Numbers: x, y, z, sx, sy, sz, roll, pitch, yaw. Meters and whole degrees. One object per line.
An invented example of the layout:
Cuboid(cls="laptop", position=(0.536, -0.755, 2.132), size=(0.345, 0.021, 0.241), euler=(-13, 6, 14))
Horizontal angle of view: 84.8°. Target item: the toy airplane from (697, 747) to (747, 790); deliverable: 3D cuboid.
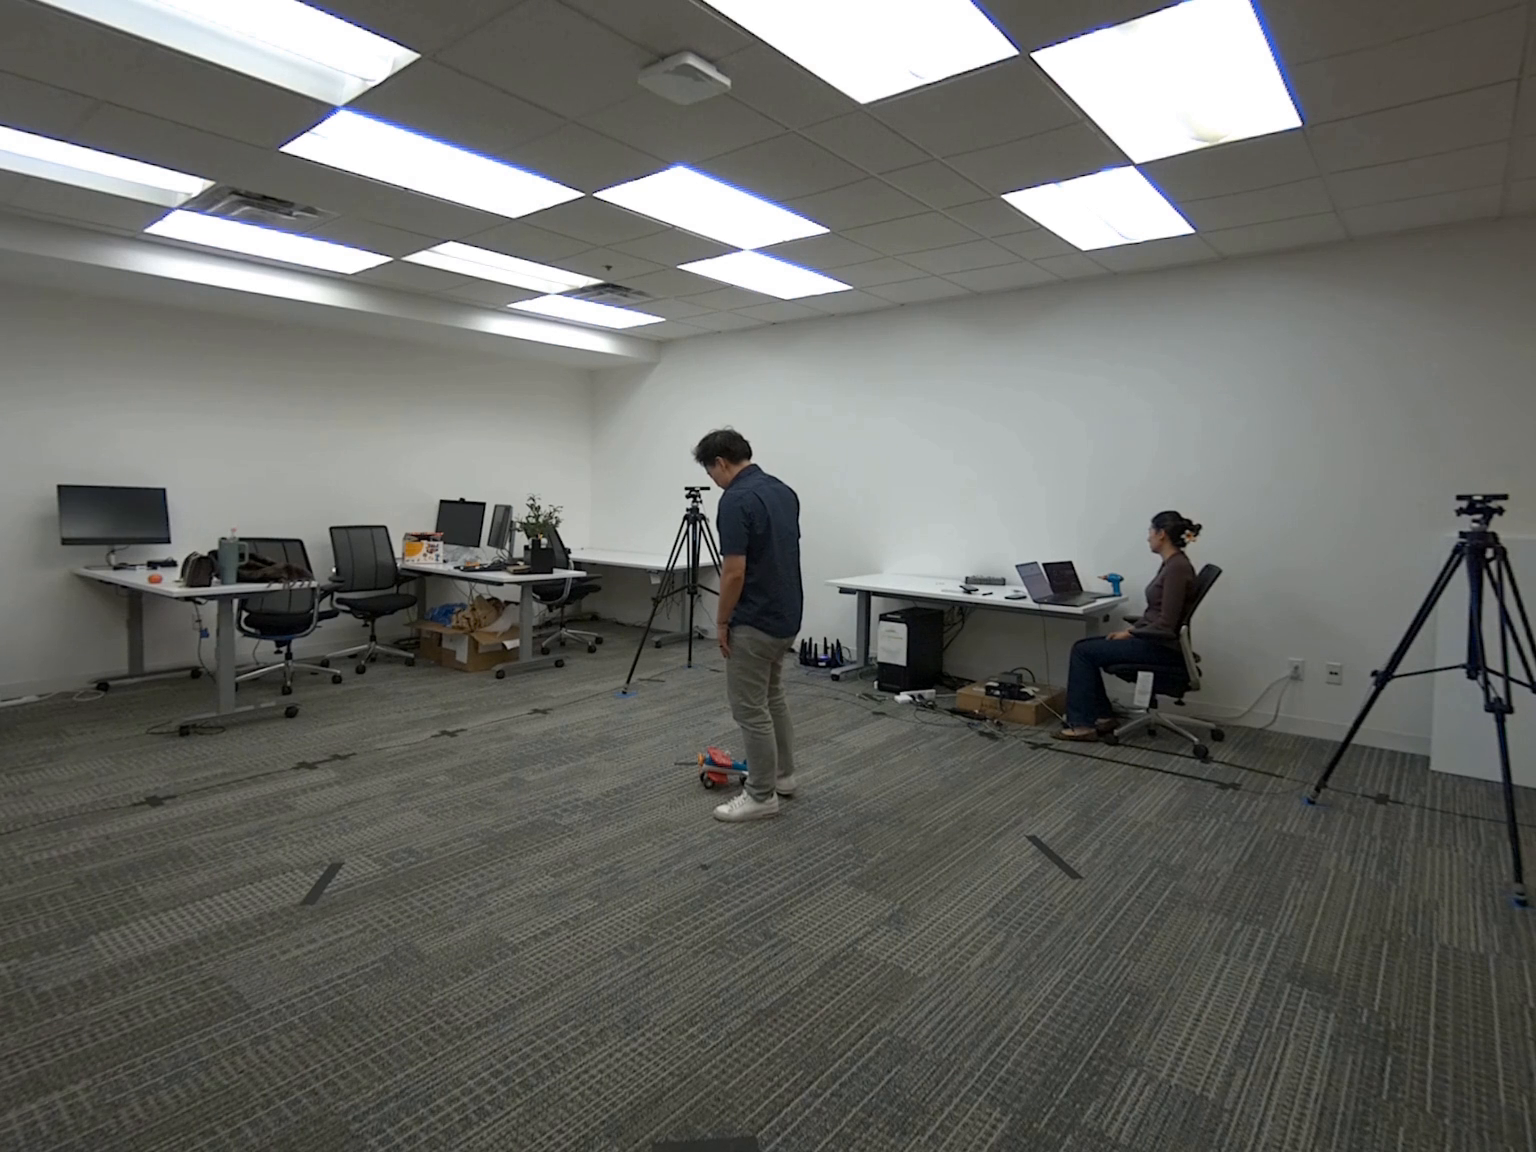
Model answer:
Cuboid(cls="toy airplane", position=(-0.218, 0.901, 4.015), size=(0.251, 0.156, 0.260), euler=(-3, 6, -42))
